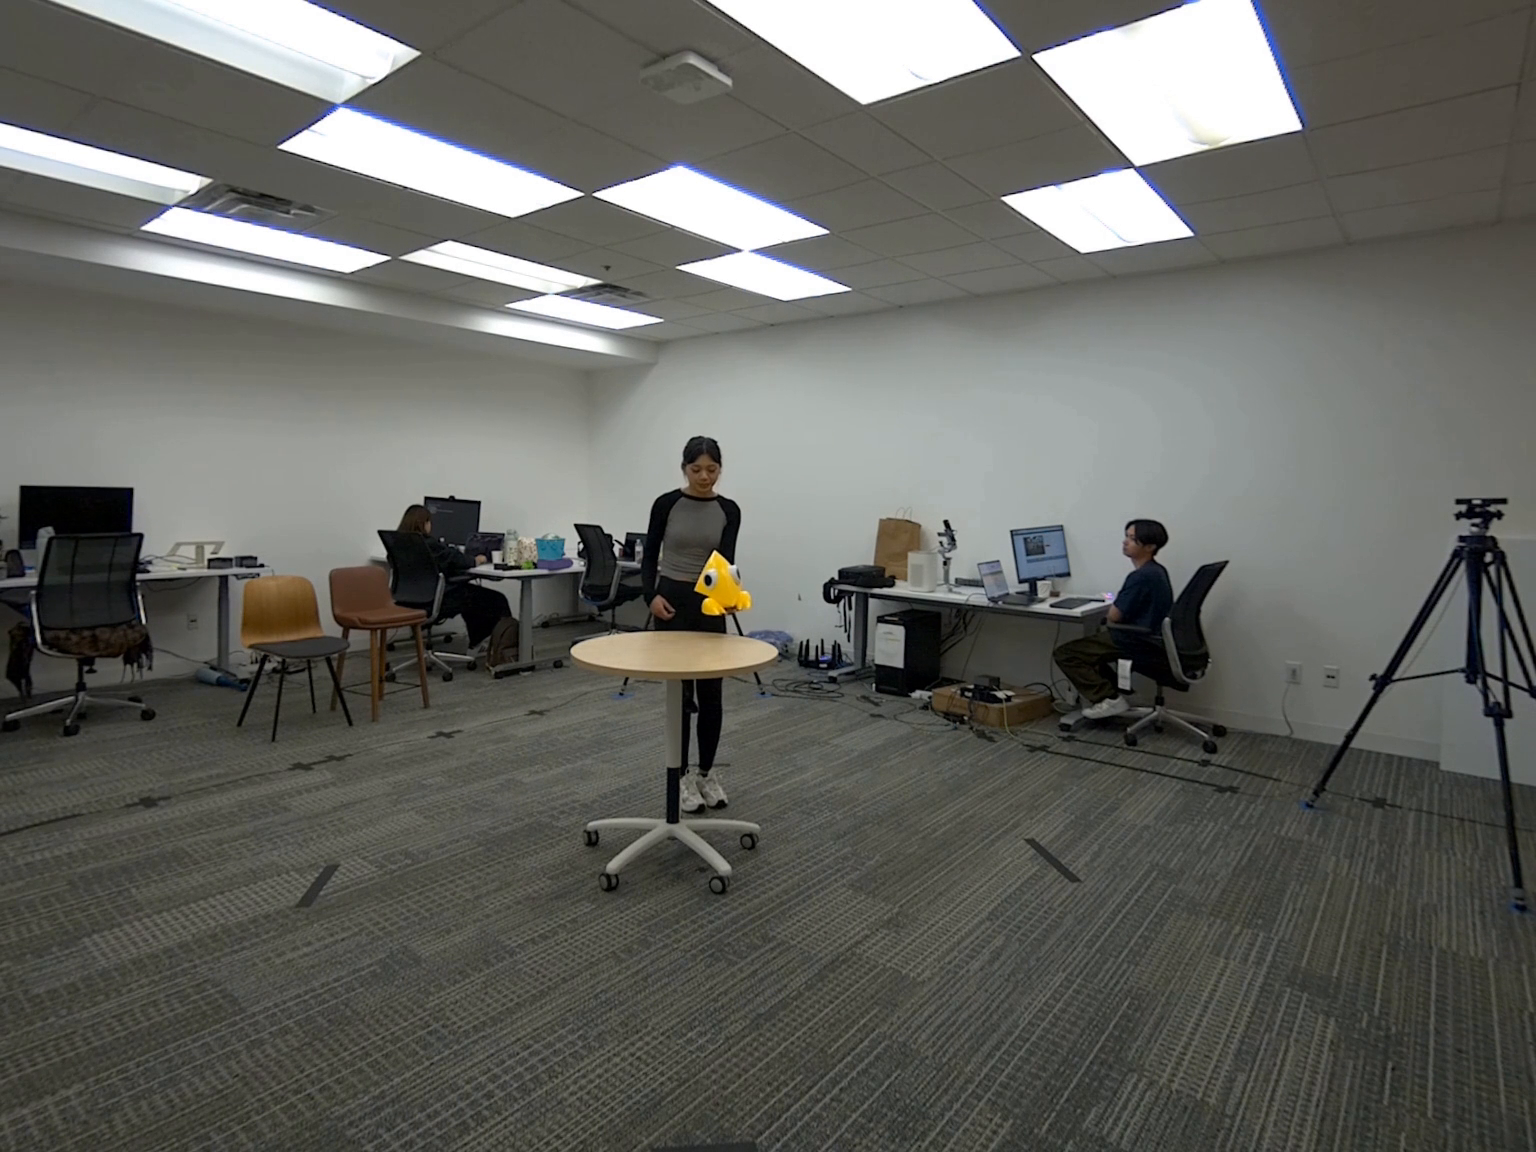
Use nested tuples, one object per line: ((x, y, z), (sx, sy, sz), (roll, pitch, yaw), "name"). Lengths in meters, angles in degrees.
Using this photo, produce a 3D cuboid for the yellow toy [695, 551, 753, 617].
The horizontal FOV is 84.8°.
((-0.186, 0.013, 3.423), (0.202, 0.228, 0.198), (-11, 10, -18), "yellow toy")
